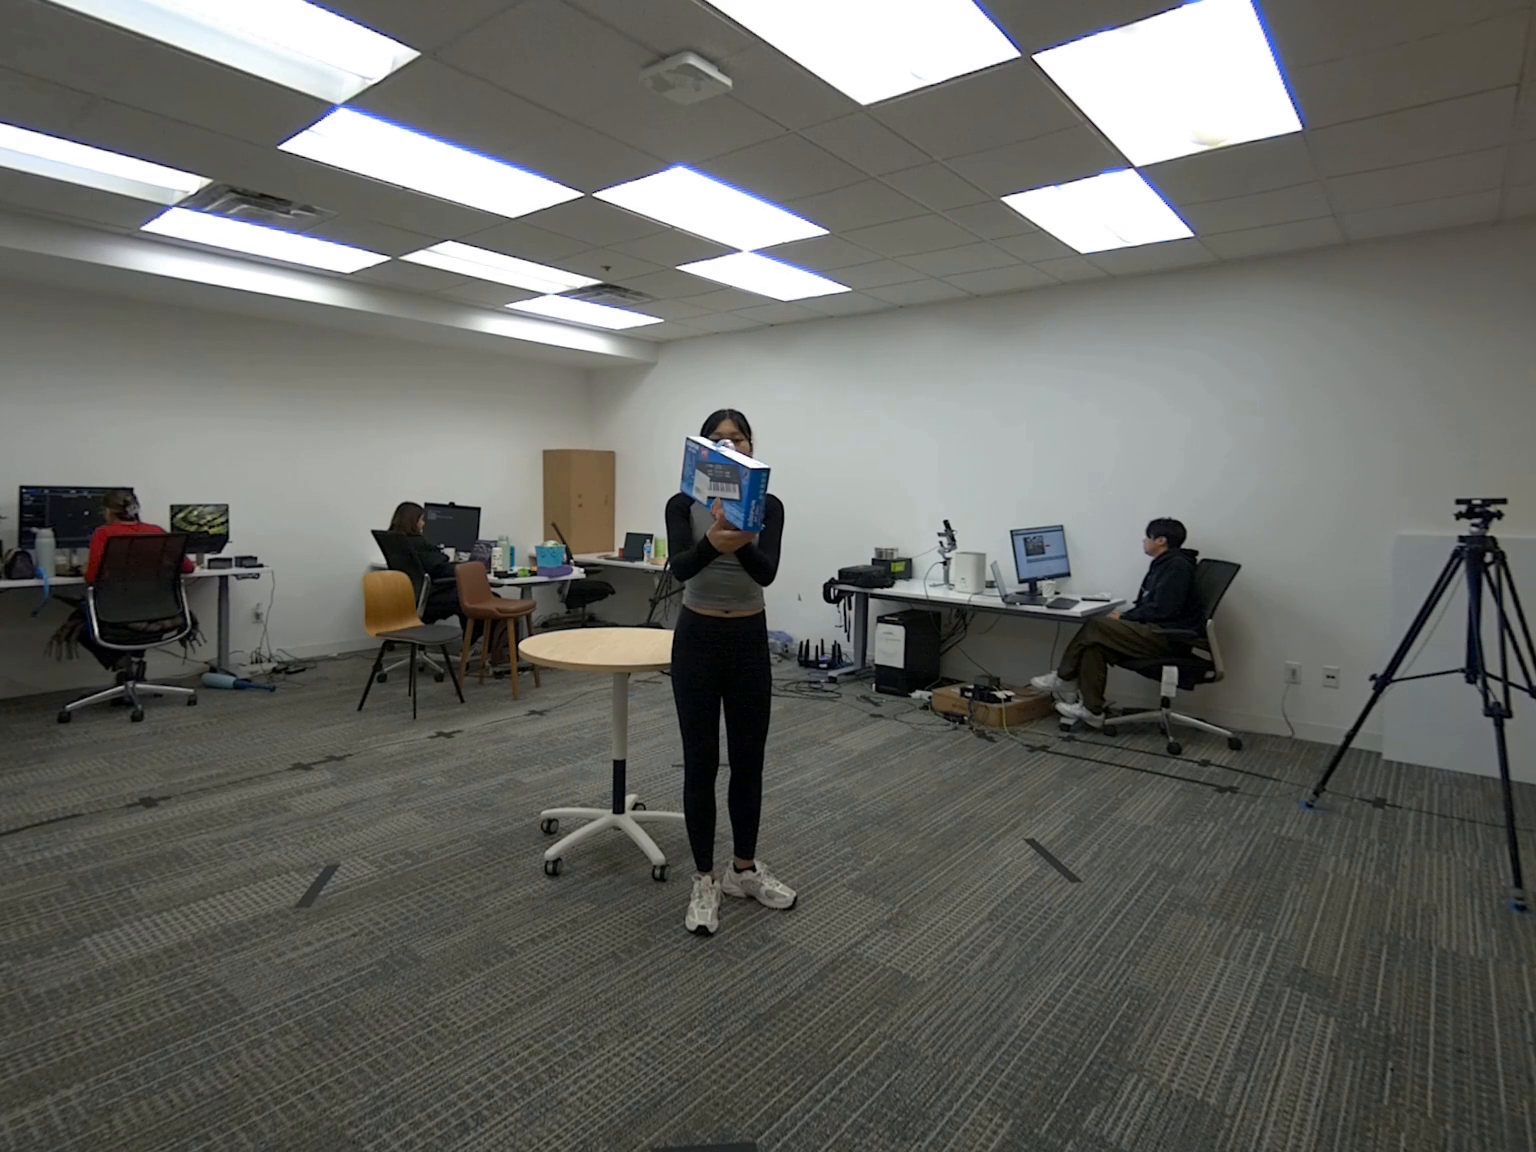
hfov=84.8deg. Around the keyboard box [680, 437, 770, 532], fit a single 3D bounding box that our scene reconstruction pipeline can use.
[{"bbox_3d":[-0.138,-0.273,2.415,0.057,0.174,0.454,1,18,-30],"label":"keyboard box"}]
